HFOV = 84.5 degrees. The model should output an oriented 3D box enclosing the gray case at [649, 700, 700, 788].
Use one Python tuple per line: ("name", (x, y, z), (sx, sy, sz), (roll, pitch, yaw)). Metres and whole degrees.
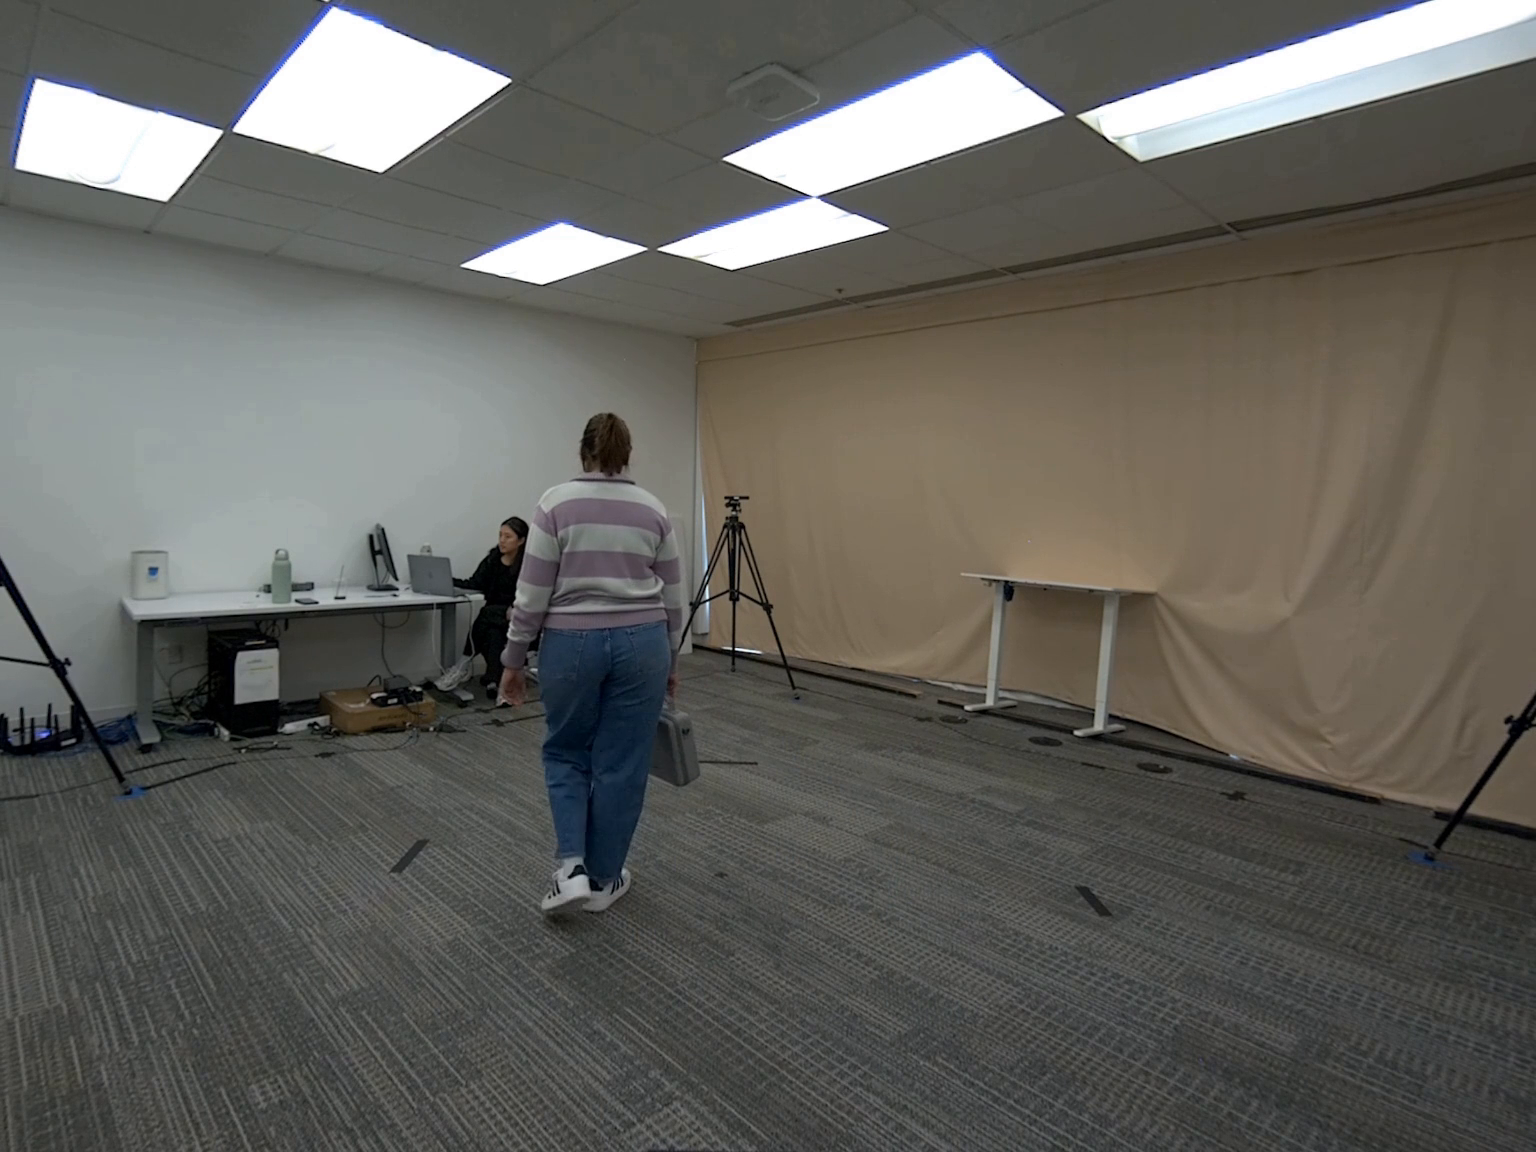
("gray case", (-0.378, 0.593, 3.003), (0.102, 0.259, 0.263), (-13, 12, -36))
